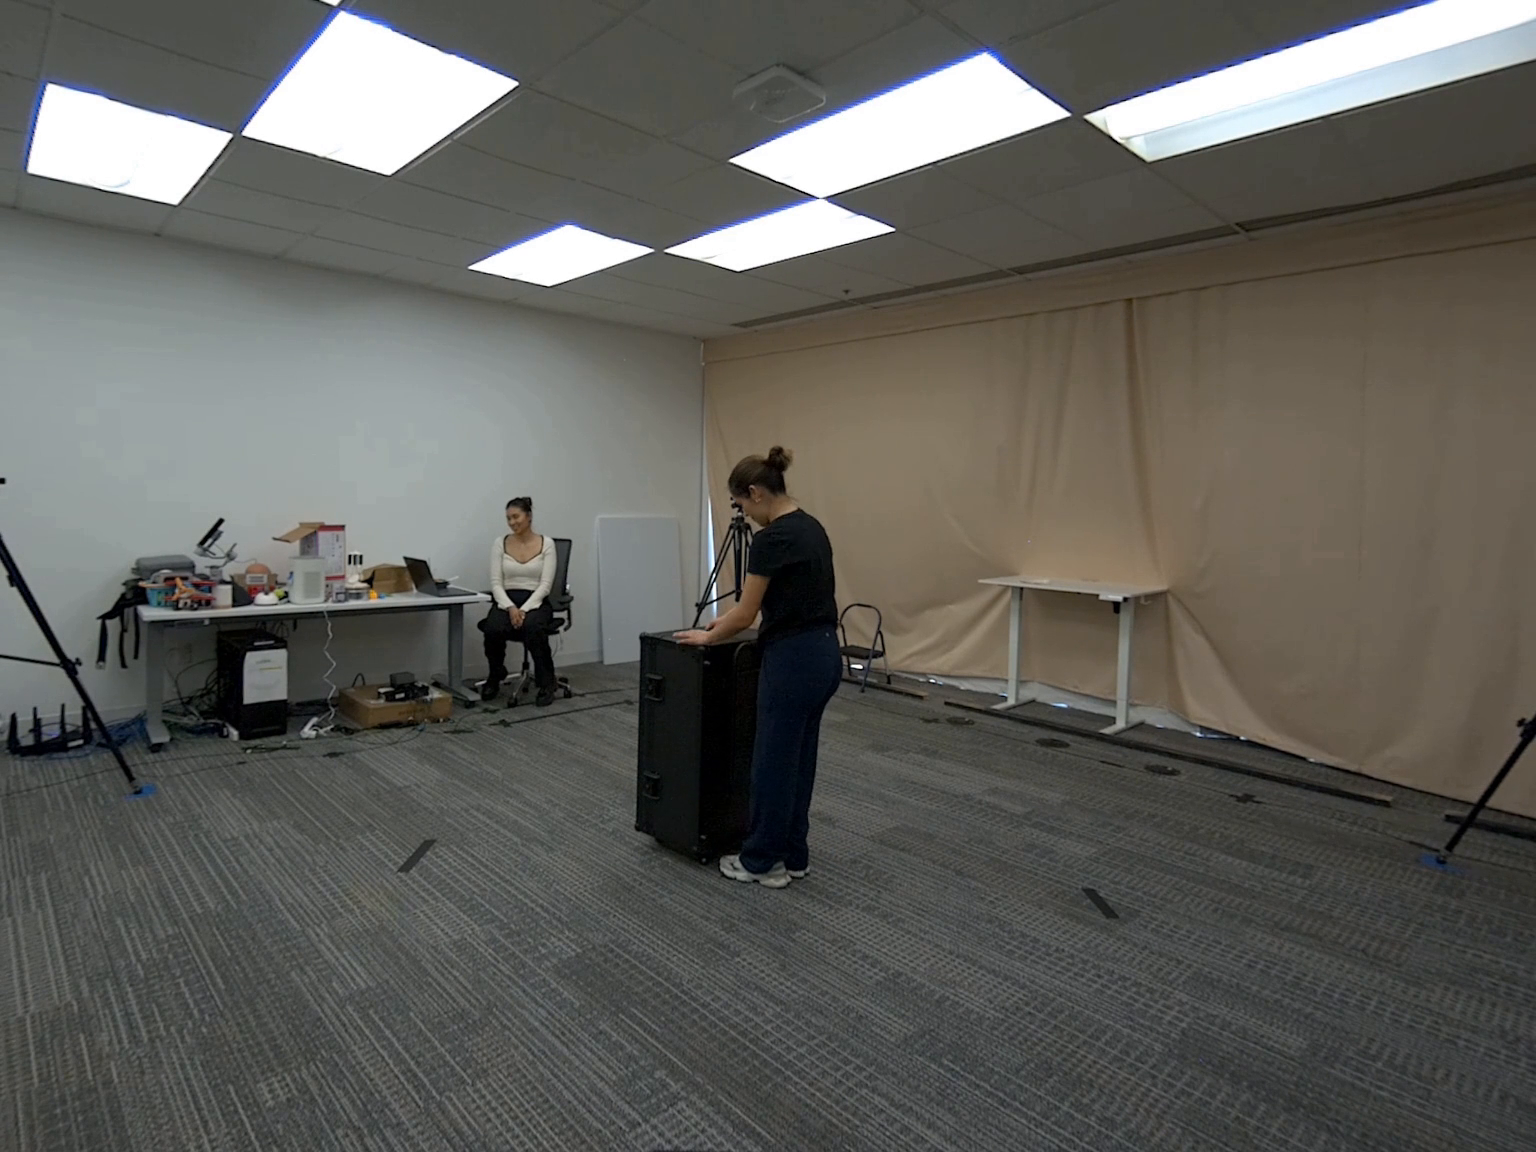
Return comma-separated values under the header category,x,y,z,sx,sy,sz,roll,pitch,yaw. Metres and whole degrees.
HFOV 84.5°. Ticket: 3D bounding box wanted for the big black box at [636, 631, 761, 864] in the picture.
category,x,y,z,sx,sy,sz,roll,pitch,yaw
big black box,-0.236,0.658,3.363,0.406,0.859,0.509,4,5,41
